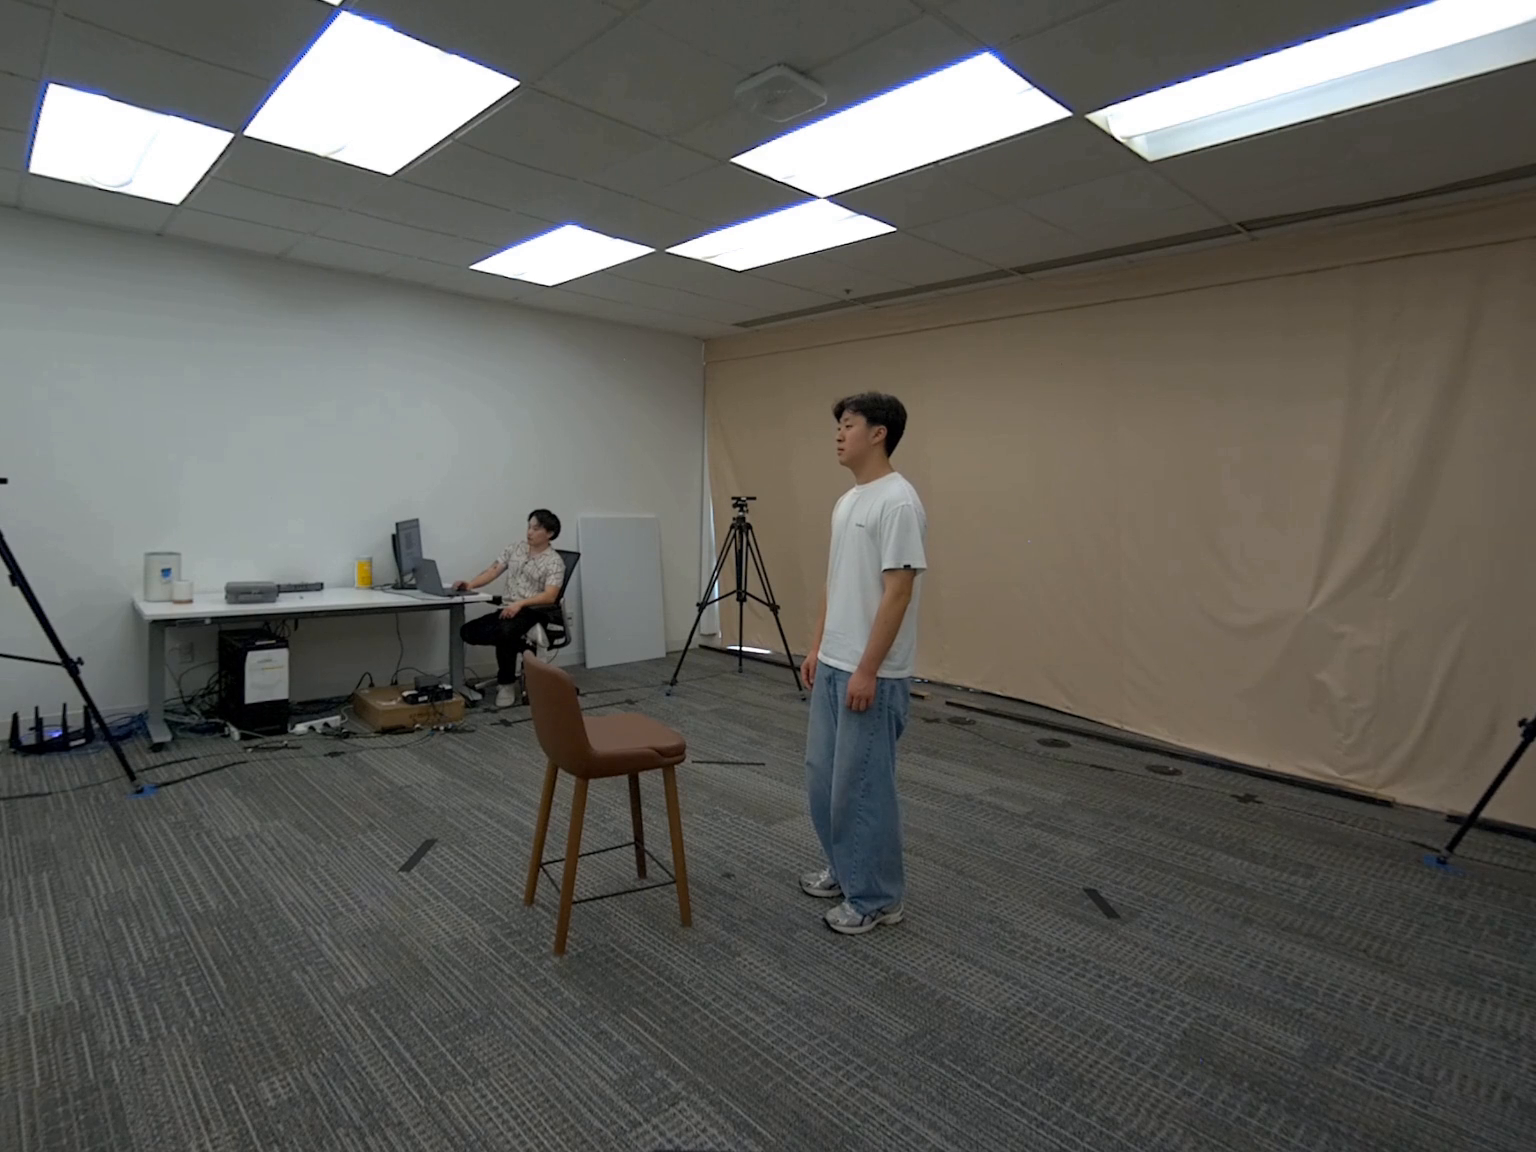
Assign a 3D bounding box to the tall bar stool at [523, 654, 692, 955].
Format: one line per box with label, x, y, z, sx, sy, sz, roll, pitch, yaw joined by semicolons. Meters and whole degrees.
tall bar stool;-0.540;0.689;2.776;0.458;0.887;0.467;-3;5;-30
